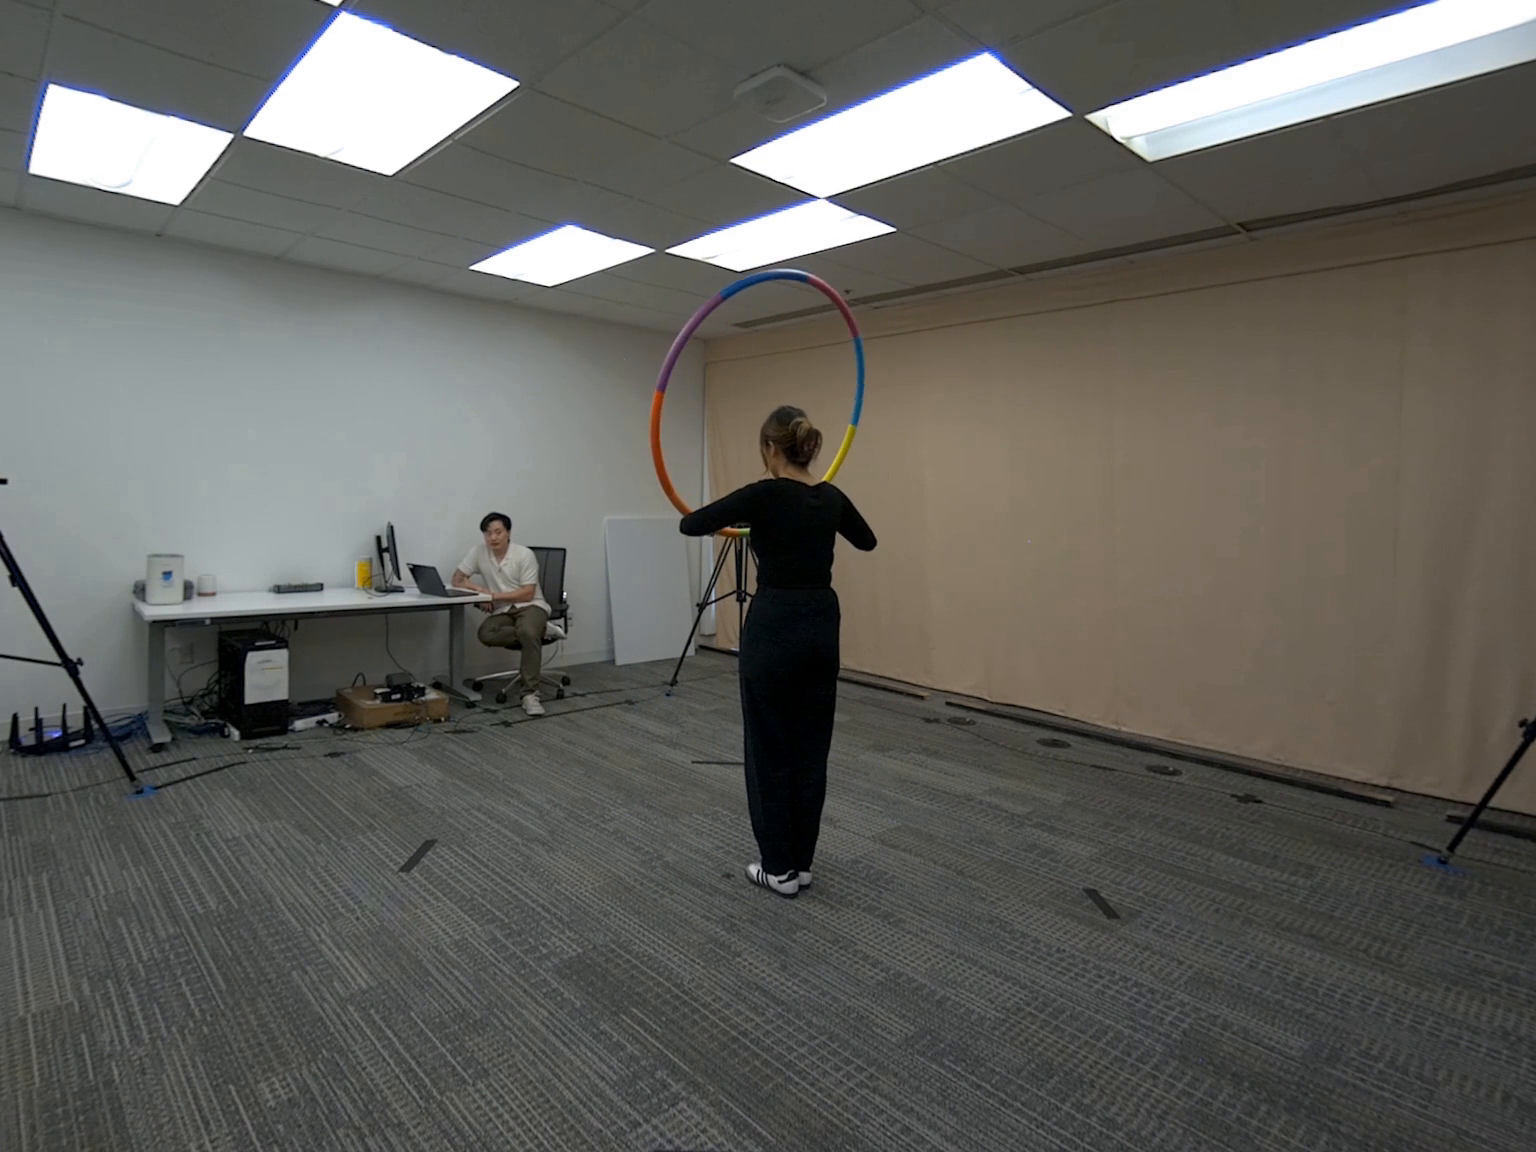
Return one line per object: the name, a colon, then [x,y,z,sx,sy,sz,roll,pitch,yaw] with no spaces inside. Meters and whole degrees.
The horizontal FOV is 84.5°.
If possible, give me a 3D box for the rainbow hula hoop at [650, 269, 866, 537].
rainbow hula hoop: [-0.011,-0.600,3.051,0.956,0.970,0.037,-3,24,-42]
